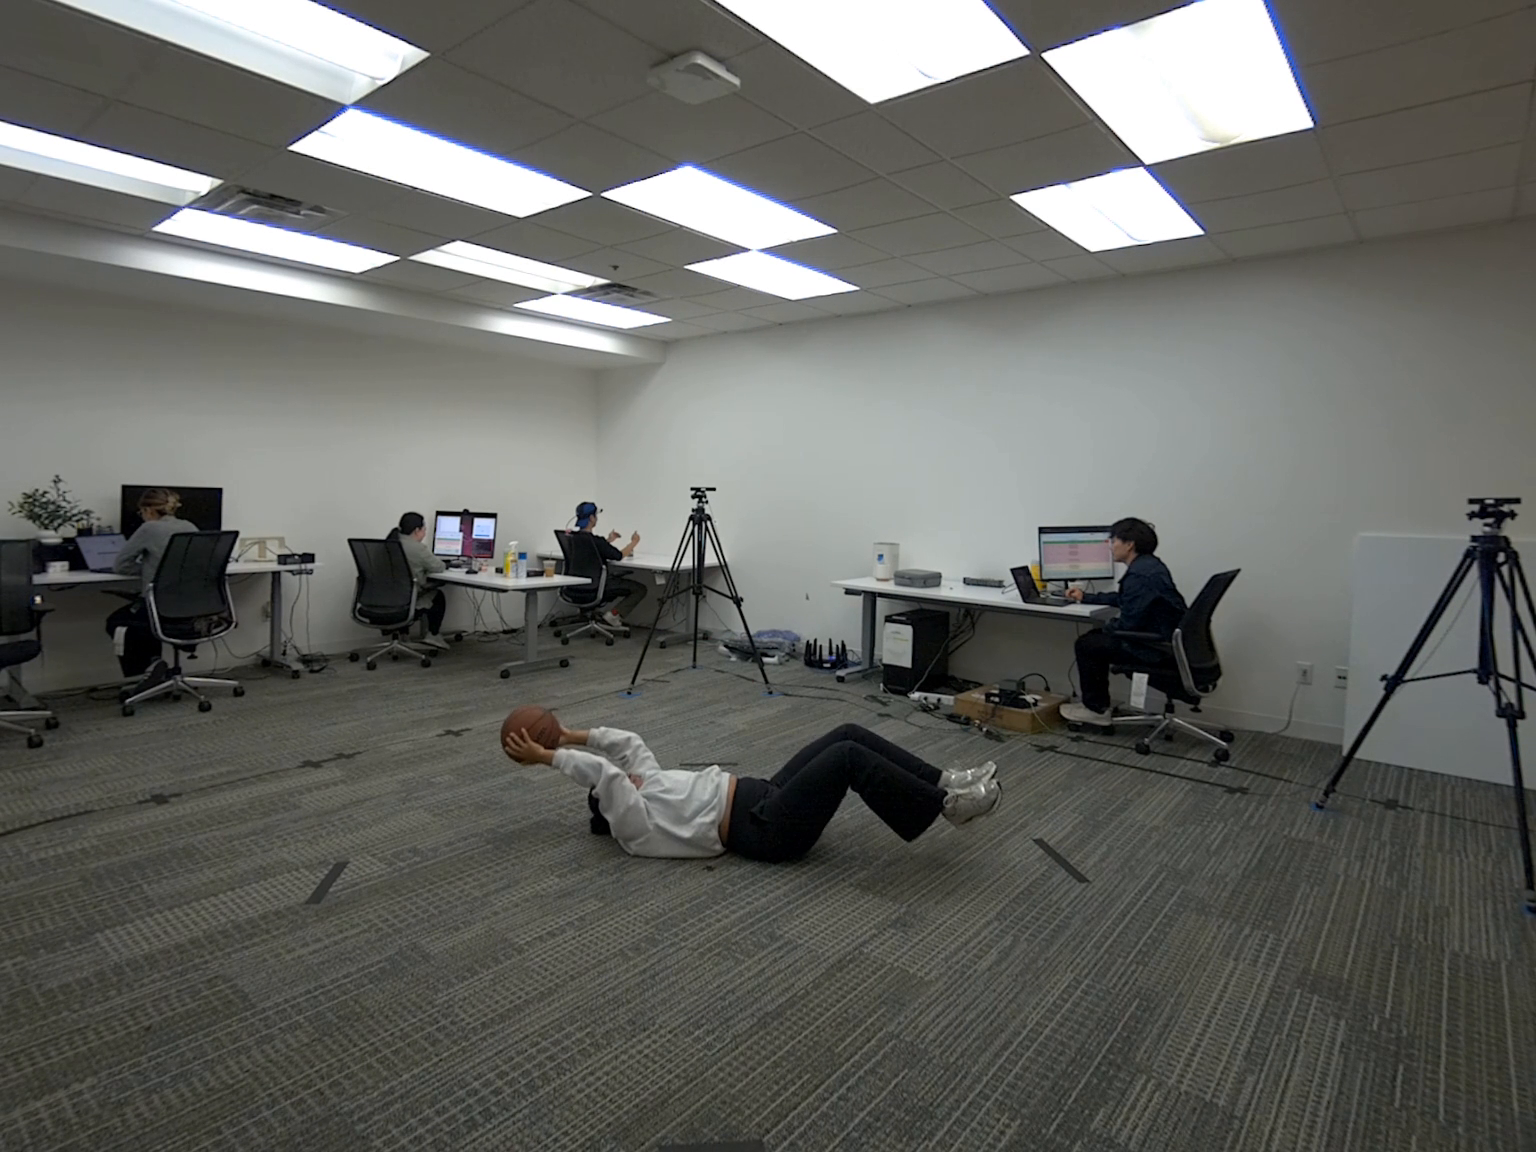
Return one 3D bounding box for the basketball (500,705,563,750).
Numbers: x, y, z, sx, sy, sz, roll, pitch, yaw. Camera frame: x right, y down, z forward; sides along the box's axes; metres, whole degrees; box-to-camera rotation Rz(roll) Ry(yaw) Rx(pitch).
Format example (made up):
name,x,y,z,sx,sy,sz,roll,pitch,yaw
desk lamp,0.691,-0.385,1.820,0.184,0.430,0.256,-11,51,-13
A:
name,x,y,z,sx,sy,sz,roll,pitch,yaw
basketball,-0.974,0.637,3.464,0.236,0.235,0.237,0,4,-2
